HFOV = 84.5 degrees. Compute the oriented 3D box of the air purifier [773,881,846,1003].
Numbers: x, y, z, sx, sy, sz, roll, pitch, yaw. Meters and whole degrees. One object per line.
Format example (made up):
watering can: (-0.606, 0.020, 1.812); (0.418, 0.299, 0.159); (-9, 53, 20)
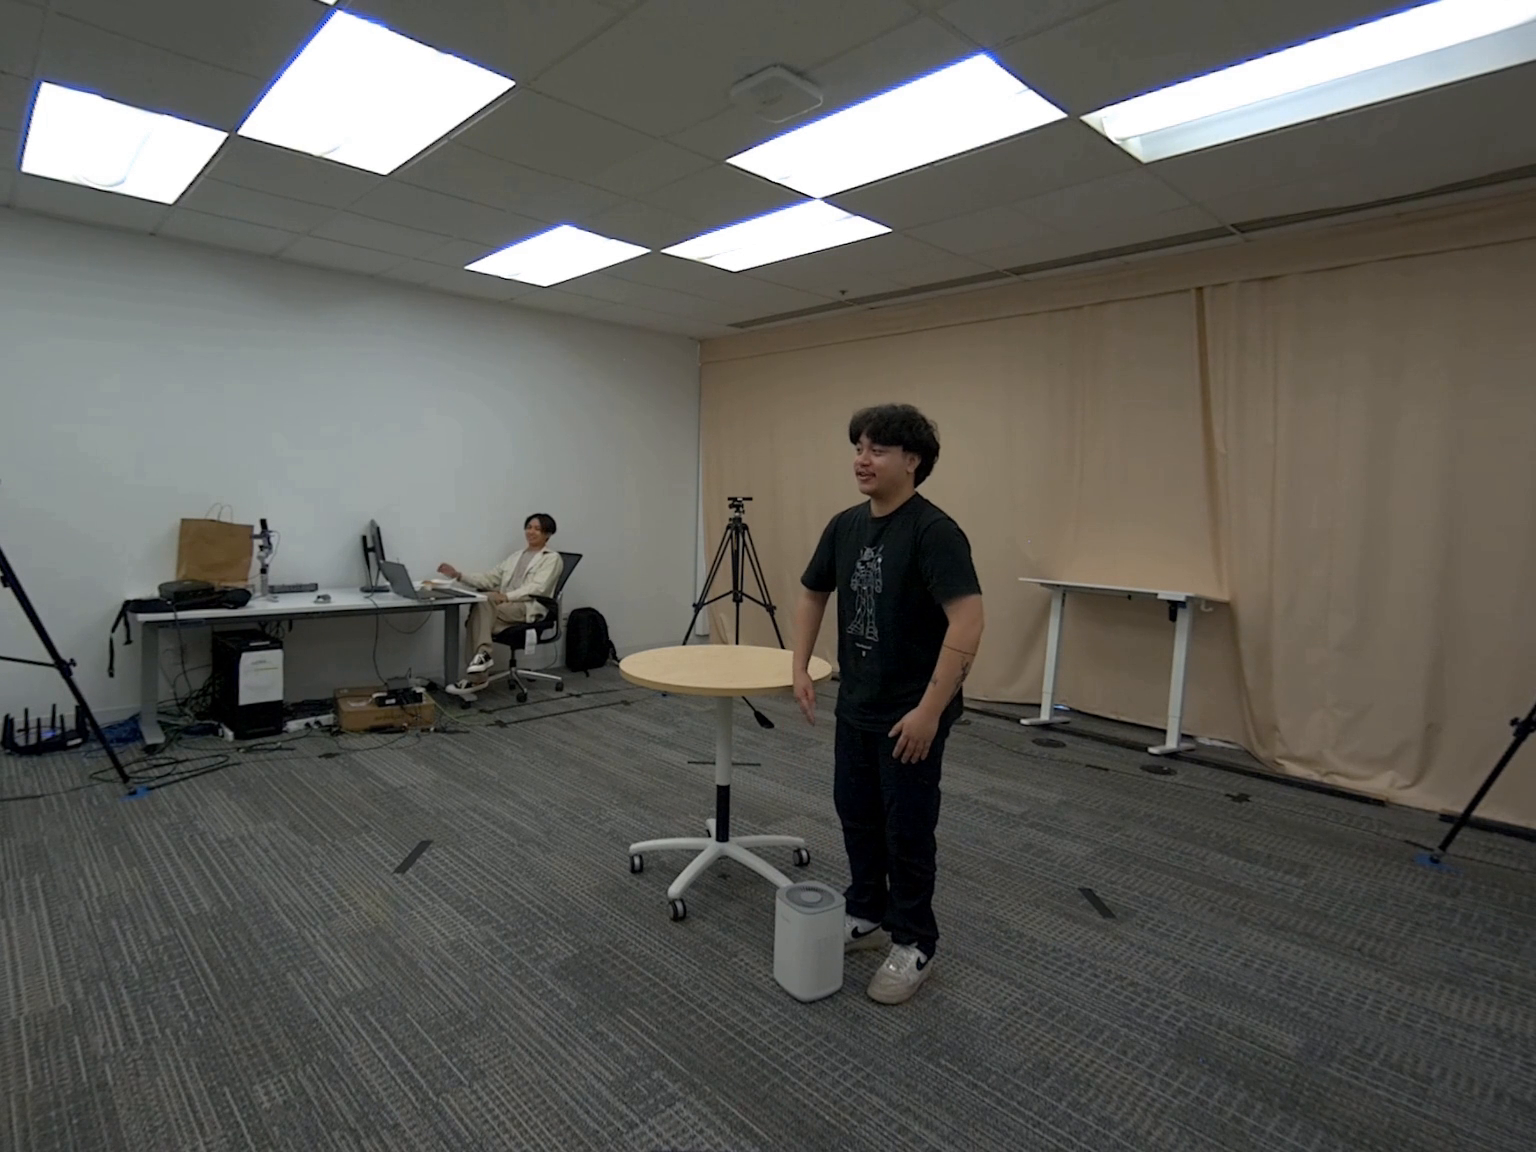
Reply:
air purifier: (0.111, 1.046, 2.403); (0.168, 0.265, 0.175); (-3, 5, -35)
